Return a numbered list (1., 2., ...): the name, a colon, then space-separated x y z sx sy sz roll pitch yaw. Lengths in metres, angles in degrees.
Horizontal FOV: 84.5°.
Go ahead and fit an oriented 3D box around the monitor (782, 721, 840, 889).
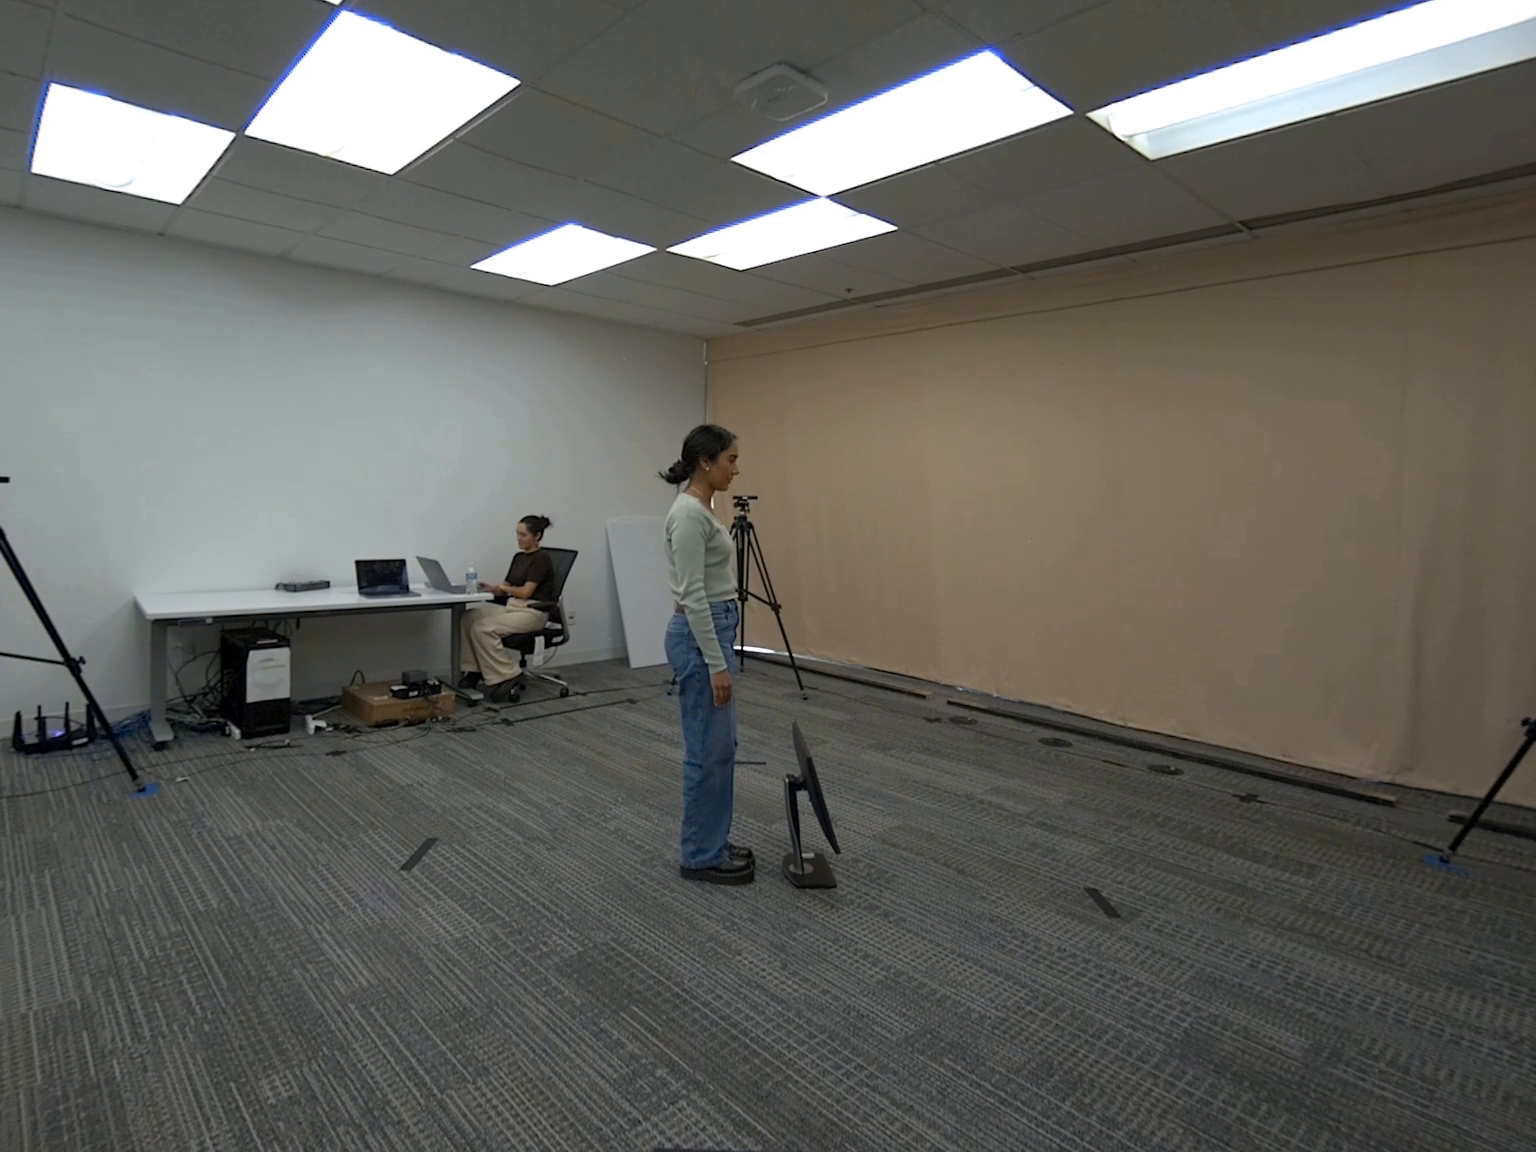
1. monitor: 0.132 0.850 3.127 0.174 0.515 0.533 2 4 -5
